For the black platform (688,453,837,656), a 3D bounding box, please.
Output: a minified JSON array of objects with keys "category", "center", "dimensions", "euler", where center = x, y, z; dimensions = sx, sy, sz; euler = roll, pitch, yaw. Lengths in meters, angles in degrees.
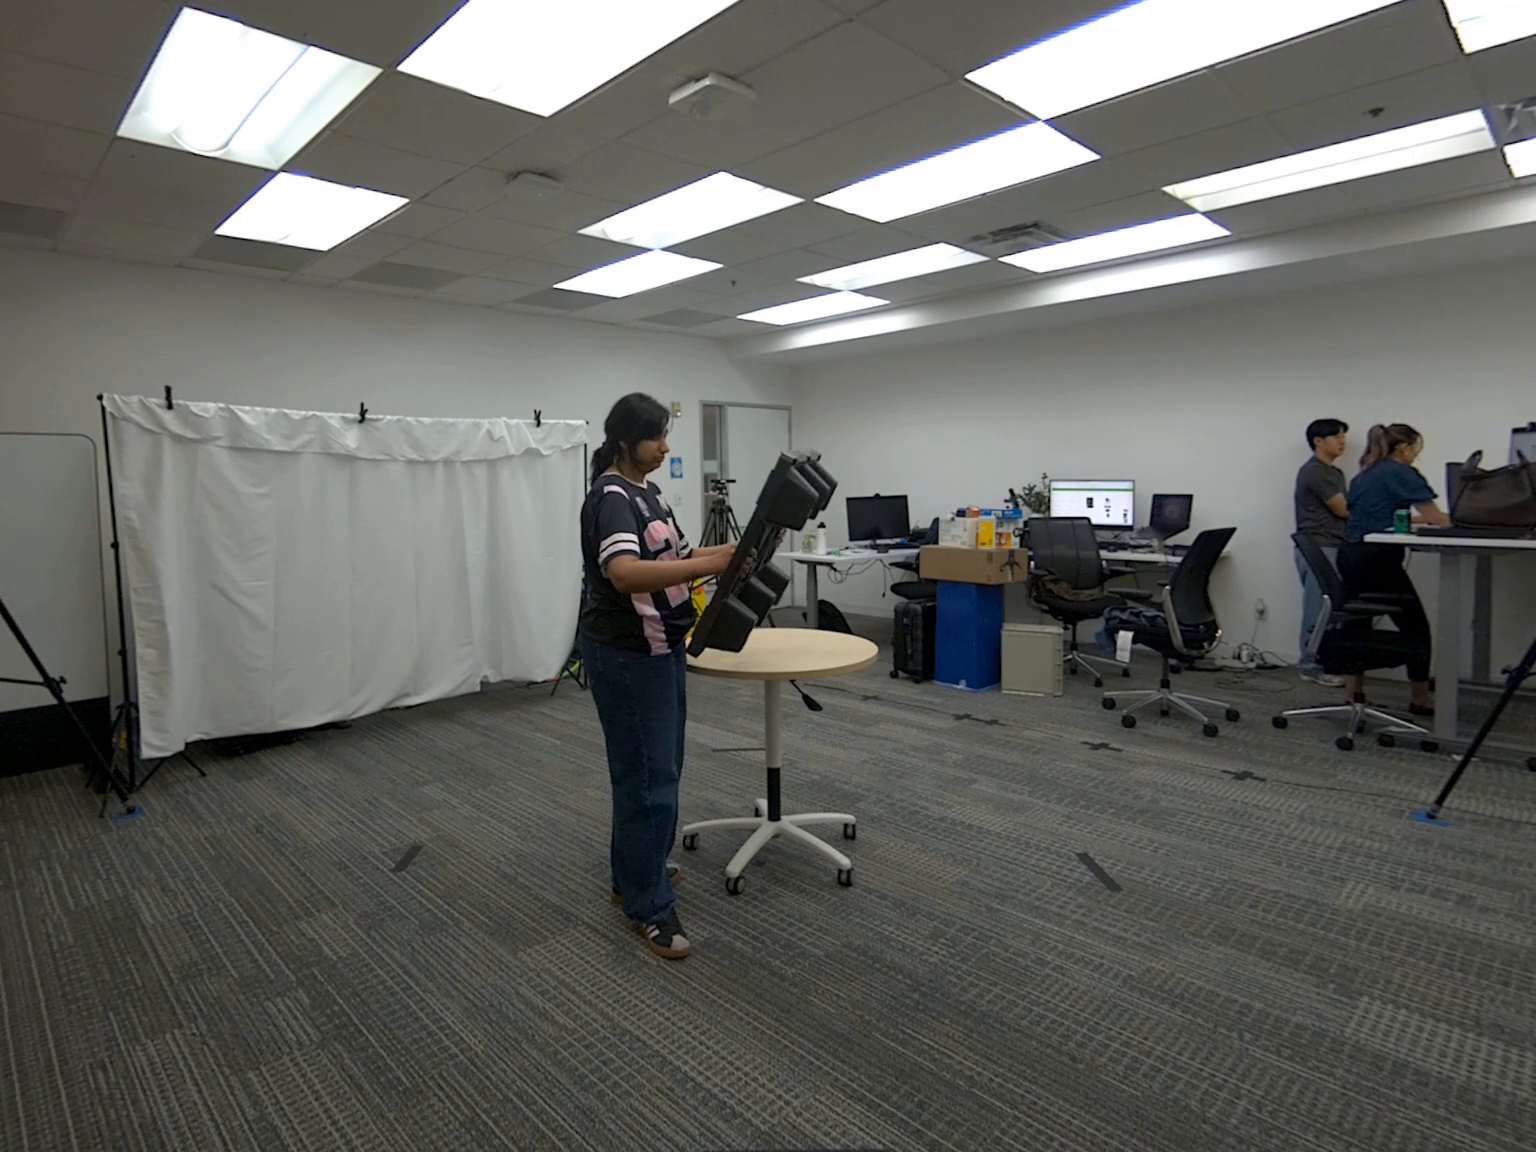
[{"category":"black platform","center":[0.027,-0.077,2.602],"dimensions":[0.144,0.602,0.803],"euler":[26,11,3]}]
